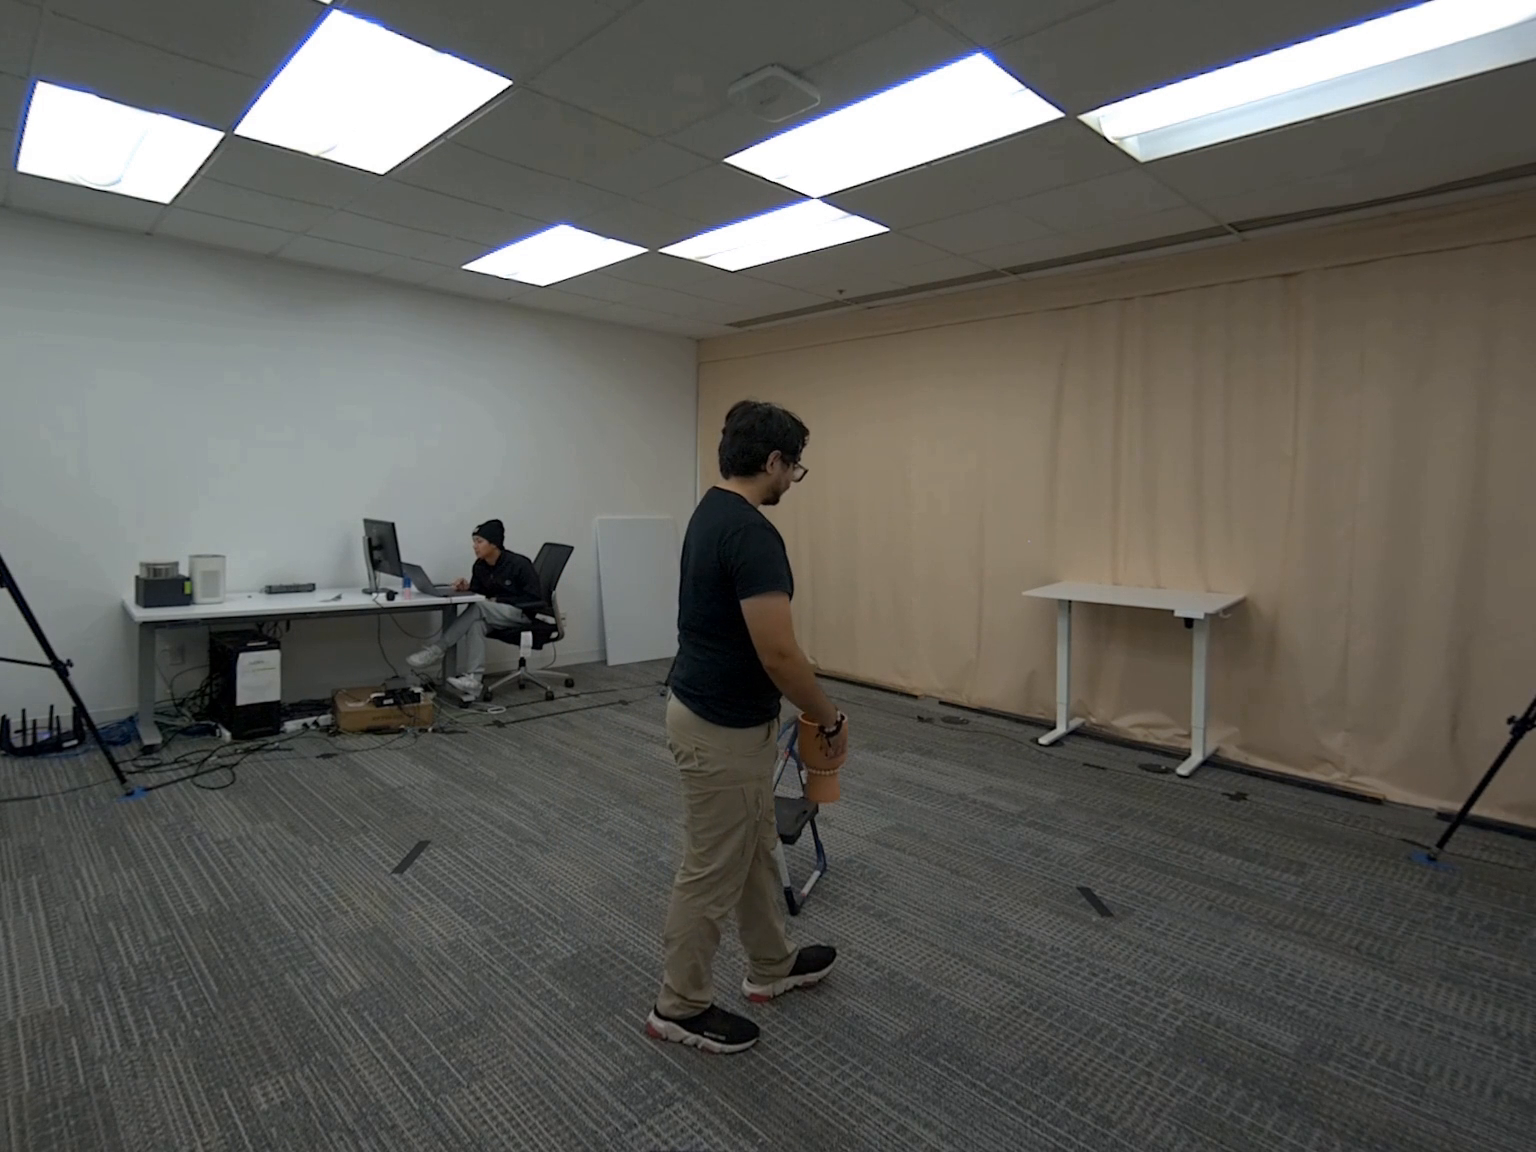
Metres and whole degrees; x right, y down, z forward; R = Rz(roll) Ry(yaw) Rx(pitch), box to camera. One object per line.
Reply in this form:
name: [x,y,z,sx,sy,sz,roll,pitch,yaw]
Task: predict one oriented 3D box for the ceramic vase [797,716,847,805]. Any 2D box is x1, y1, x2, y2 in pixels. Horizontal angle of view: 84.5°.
ceramic vase: [0.143,0.487,2.231,0.137,0.218,0.156,3,9,29]
